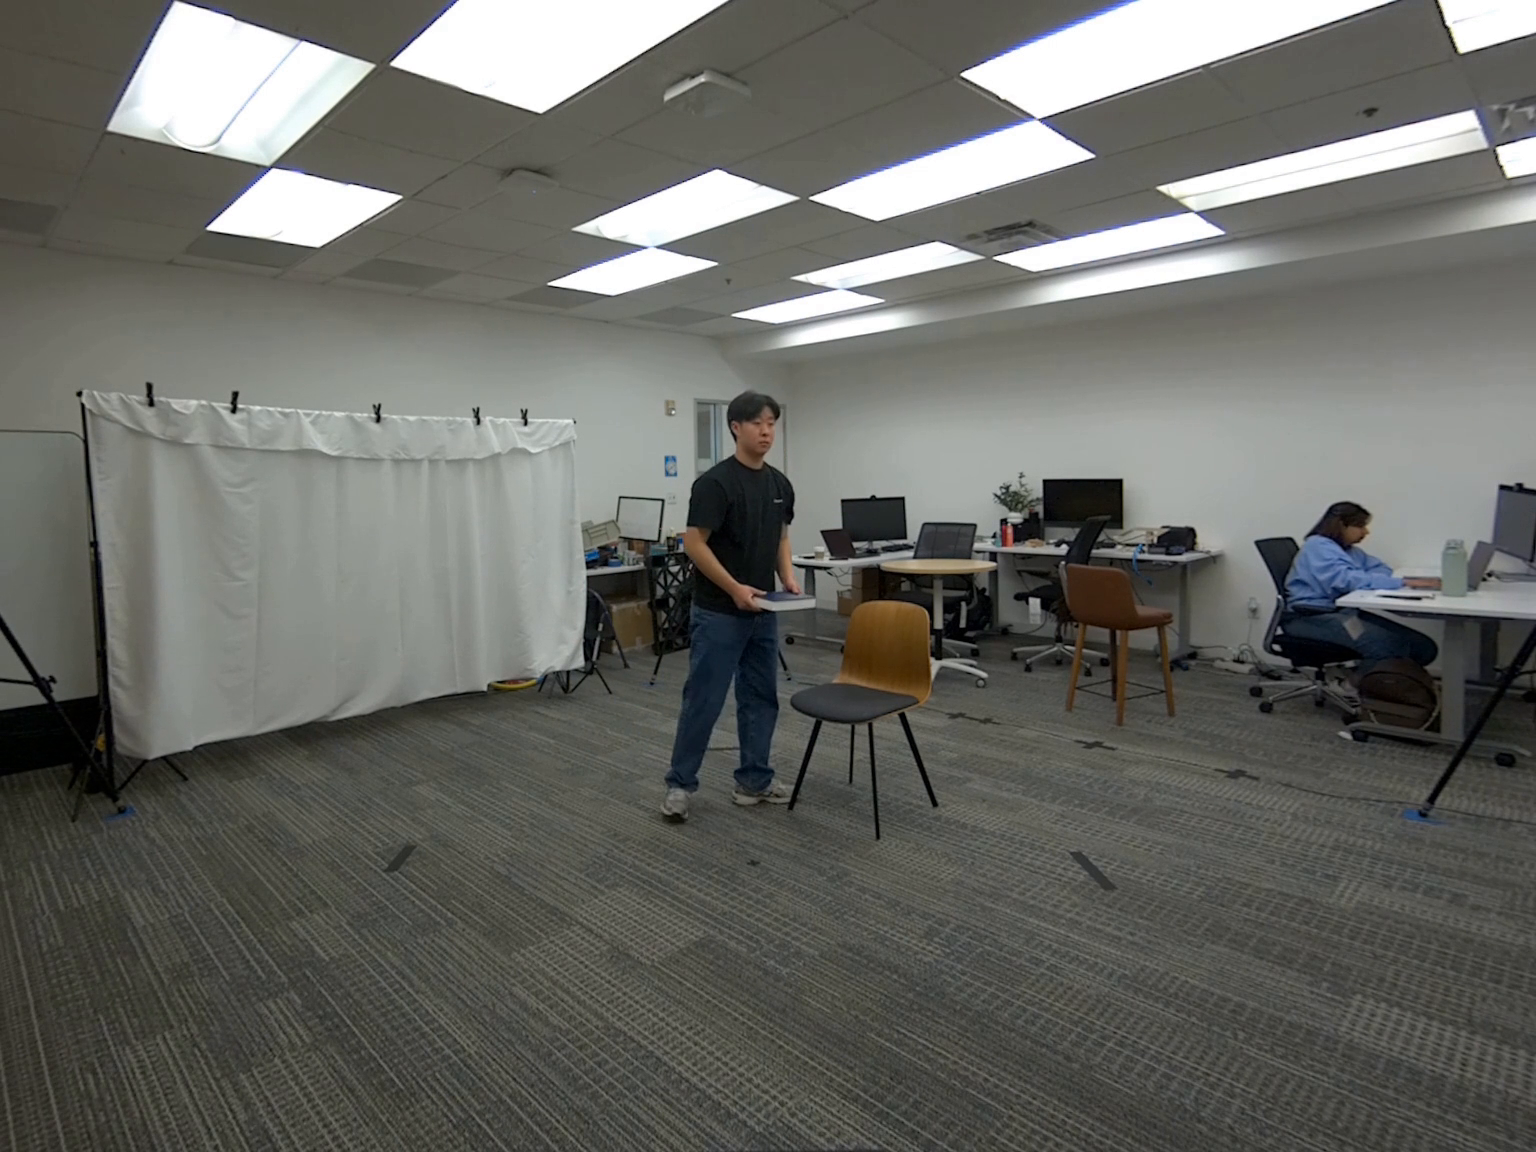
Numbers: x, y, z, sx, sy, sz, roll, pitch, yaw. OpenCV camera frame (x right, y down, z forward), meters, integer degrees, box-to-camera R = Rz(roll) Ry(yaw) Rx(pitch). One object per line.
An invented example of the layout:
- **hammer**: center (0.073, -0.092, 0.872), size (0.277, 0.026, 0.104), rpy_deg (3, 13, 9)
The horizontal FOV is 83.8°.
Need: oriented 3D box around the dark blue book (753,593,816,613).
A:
- **dark blue book**: center (0.042, 0.106, 3.428), size (0.238, 0.045, 0.169), rpy_deg (-3, 11, -38)
